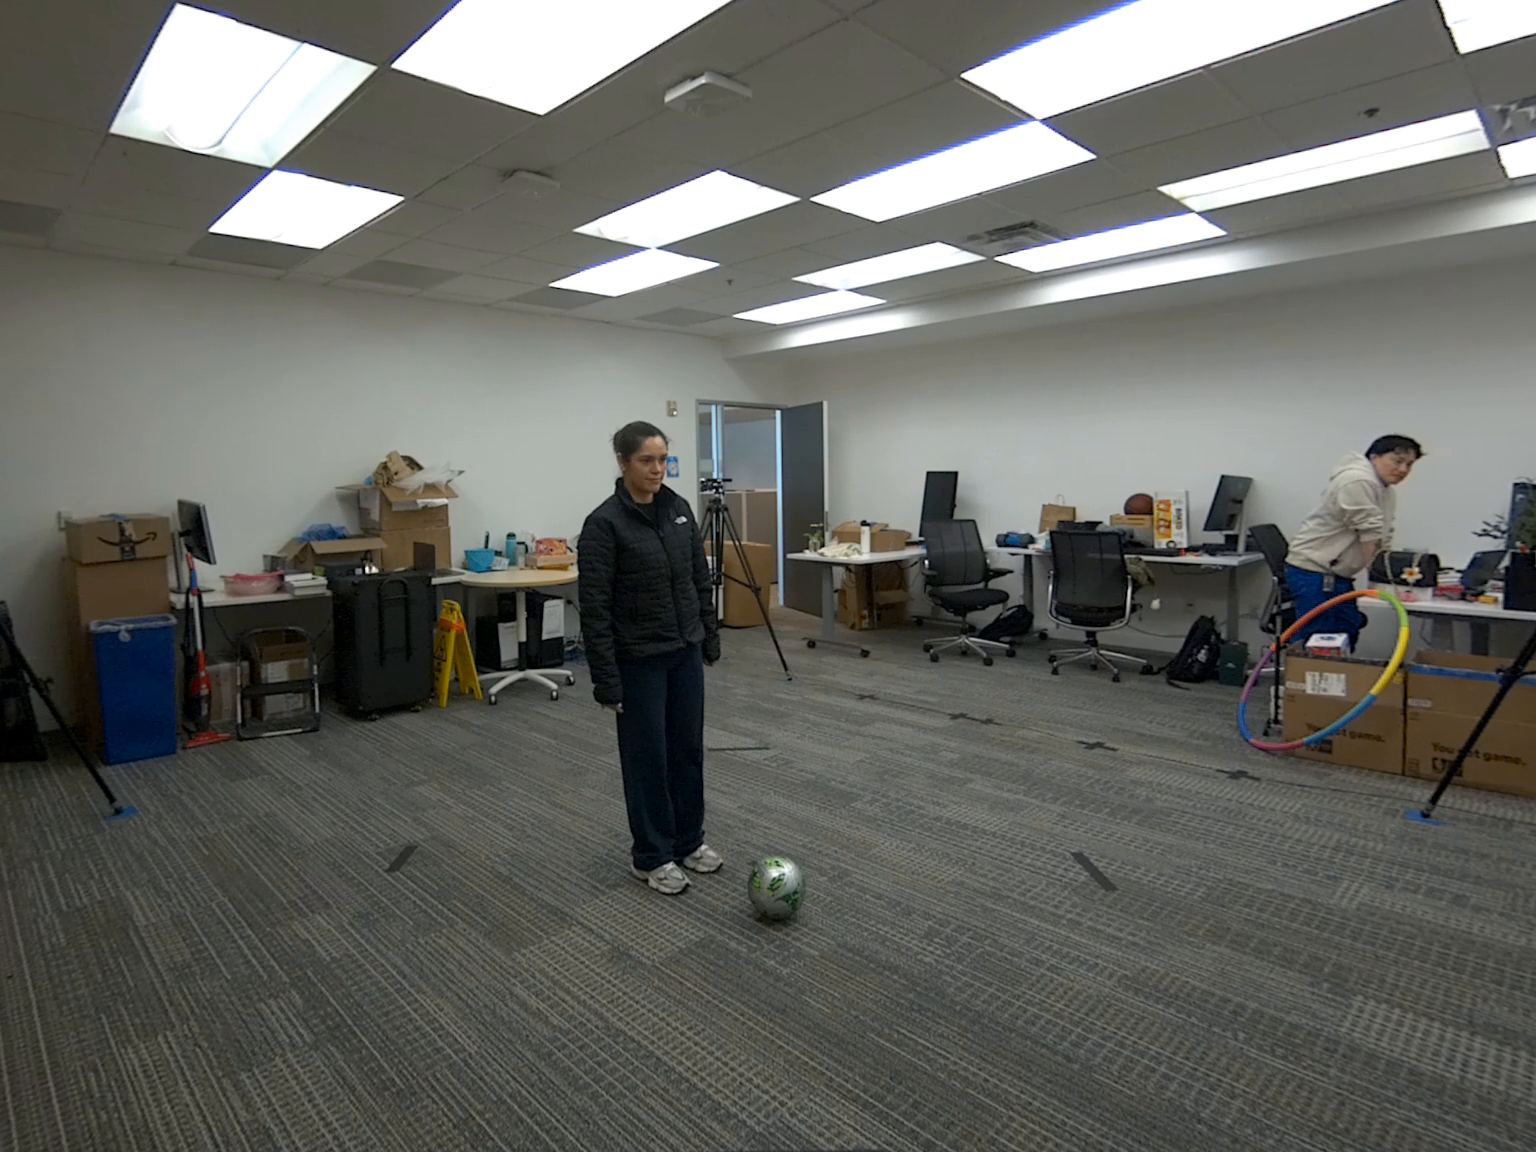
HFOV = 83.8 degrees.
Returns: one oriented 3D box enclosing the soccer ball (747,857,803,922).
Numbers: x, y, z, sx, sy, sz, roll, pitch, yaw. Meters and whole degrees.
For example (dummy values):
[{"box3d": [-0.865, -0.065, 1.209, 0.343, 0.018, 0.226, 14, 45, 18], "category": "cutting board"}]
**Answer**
[{"box3d": [0.034, 0.994, 2.727, 0.187, 0.187, 0.188, -1, 5, -2], "category": "soccer ball"}]
